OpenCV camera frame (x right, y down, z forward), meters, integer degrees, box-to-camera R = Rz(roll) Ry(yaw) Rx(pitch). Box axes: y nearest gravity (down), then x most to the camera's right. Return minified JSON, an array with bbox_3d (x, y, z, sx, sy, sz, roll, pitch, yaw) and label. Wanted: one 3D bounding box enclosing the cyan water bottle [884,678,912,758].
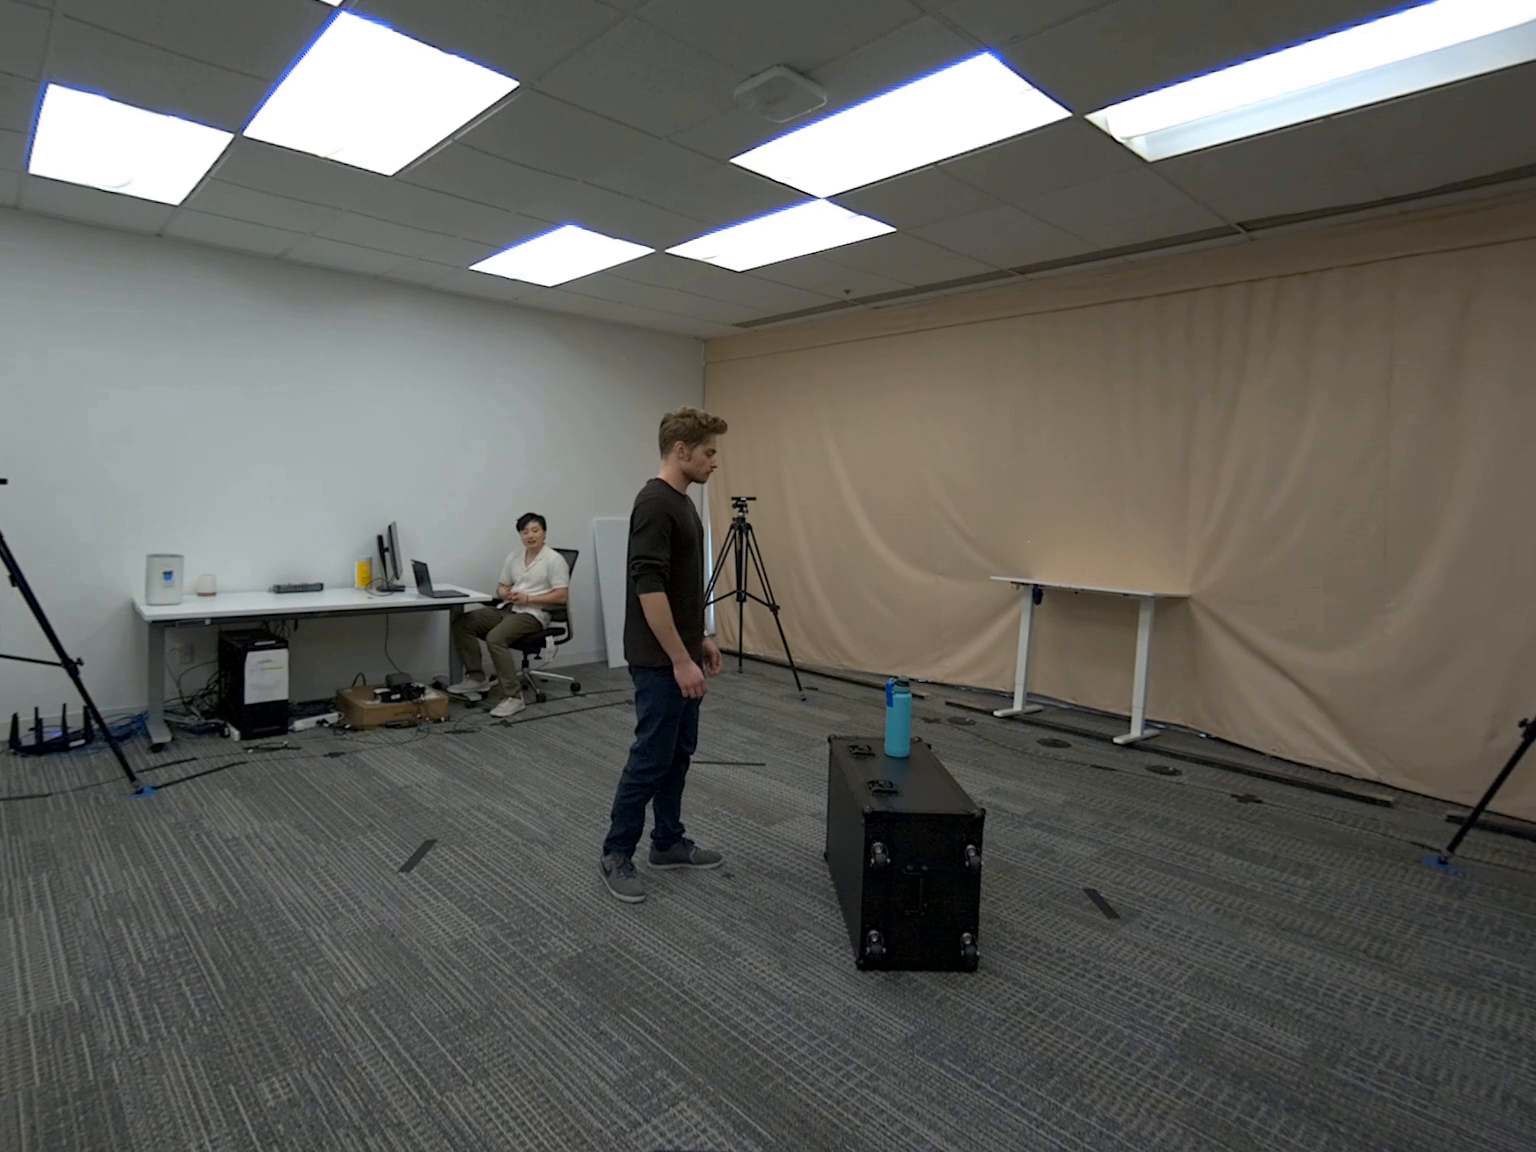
[{"bbox_3d":[0.464,0.503,3.039,0.092,0.282,0.093,1,4,-1],"label":"cyan water bottle"}]
